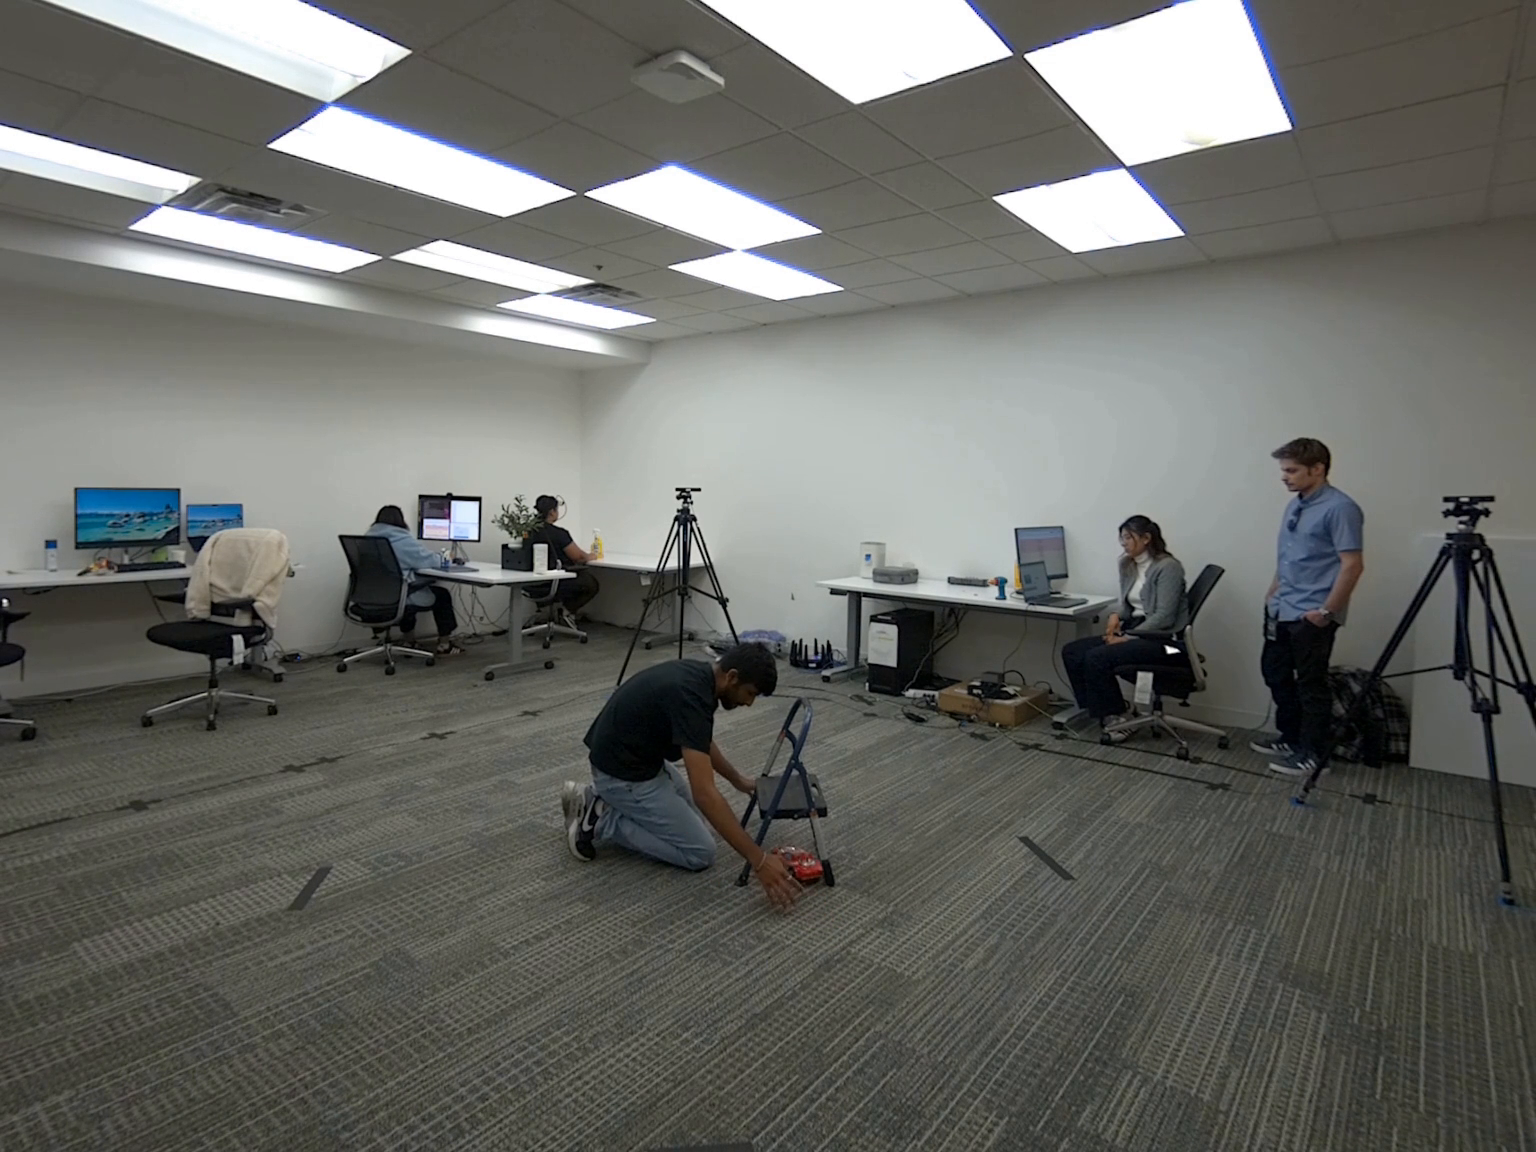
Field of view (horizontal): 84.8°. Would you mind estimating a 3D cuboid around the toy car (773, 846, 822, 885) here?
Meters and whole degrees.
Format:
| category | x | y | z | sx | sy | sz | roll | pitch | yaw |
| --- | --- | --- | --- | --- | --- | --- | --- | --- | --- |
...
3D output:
| category | x | y | z | sx | sy | sz | roll | pitch | yaw |
| --- | --- | --- | --- | --- | --- | --- | --- | --- | --- |
| toy car | 0.107 | 1.046 | 3.109 | 0.127 | 0.084 | 0.259 | 0 | -6 | -24 |
